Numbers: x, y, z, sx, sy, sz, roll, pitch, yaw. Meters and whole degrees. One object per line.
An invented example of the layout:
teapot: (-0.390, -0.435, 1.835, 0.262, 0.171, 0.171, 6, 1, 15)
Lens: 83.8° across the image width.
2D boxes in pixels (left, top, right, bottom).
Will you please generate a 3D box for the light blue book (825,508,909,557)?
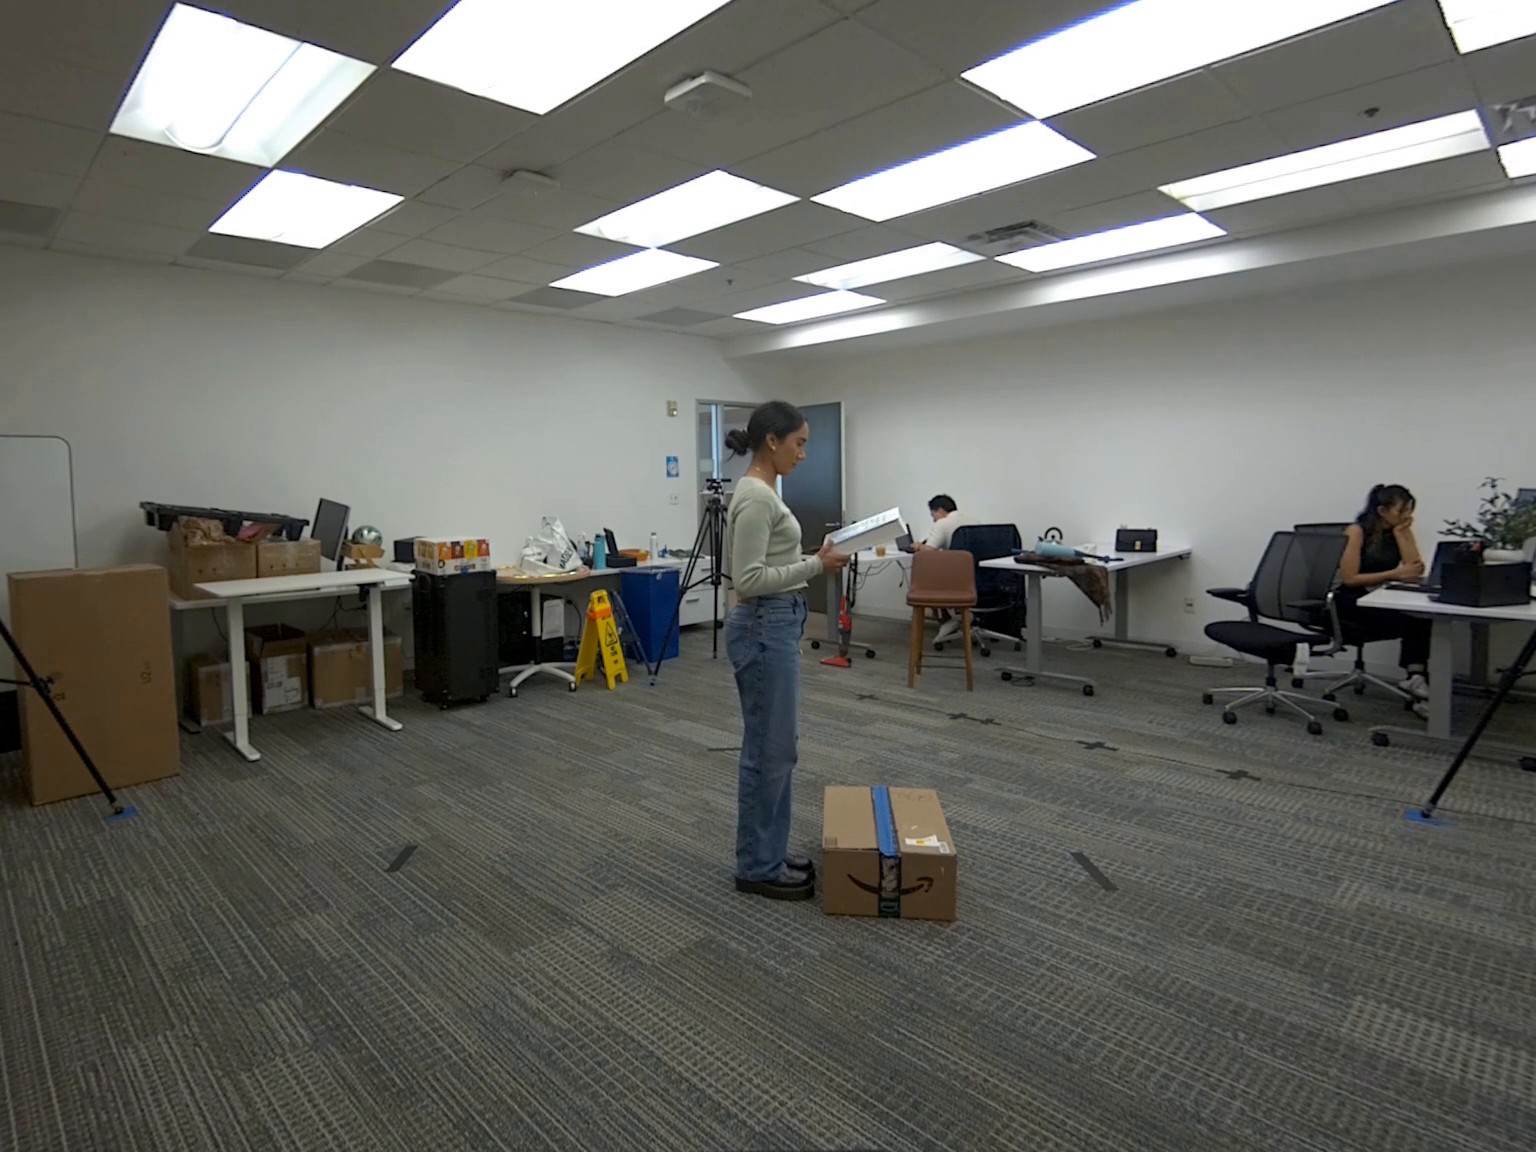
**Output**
light blue book: (0.321, -0.128, 2.791, 0.263, 0.058, 0.192, -21, 12, 11)
